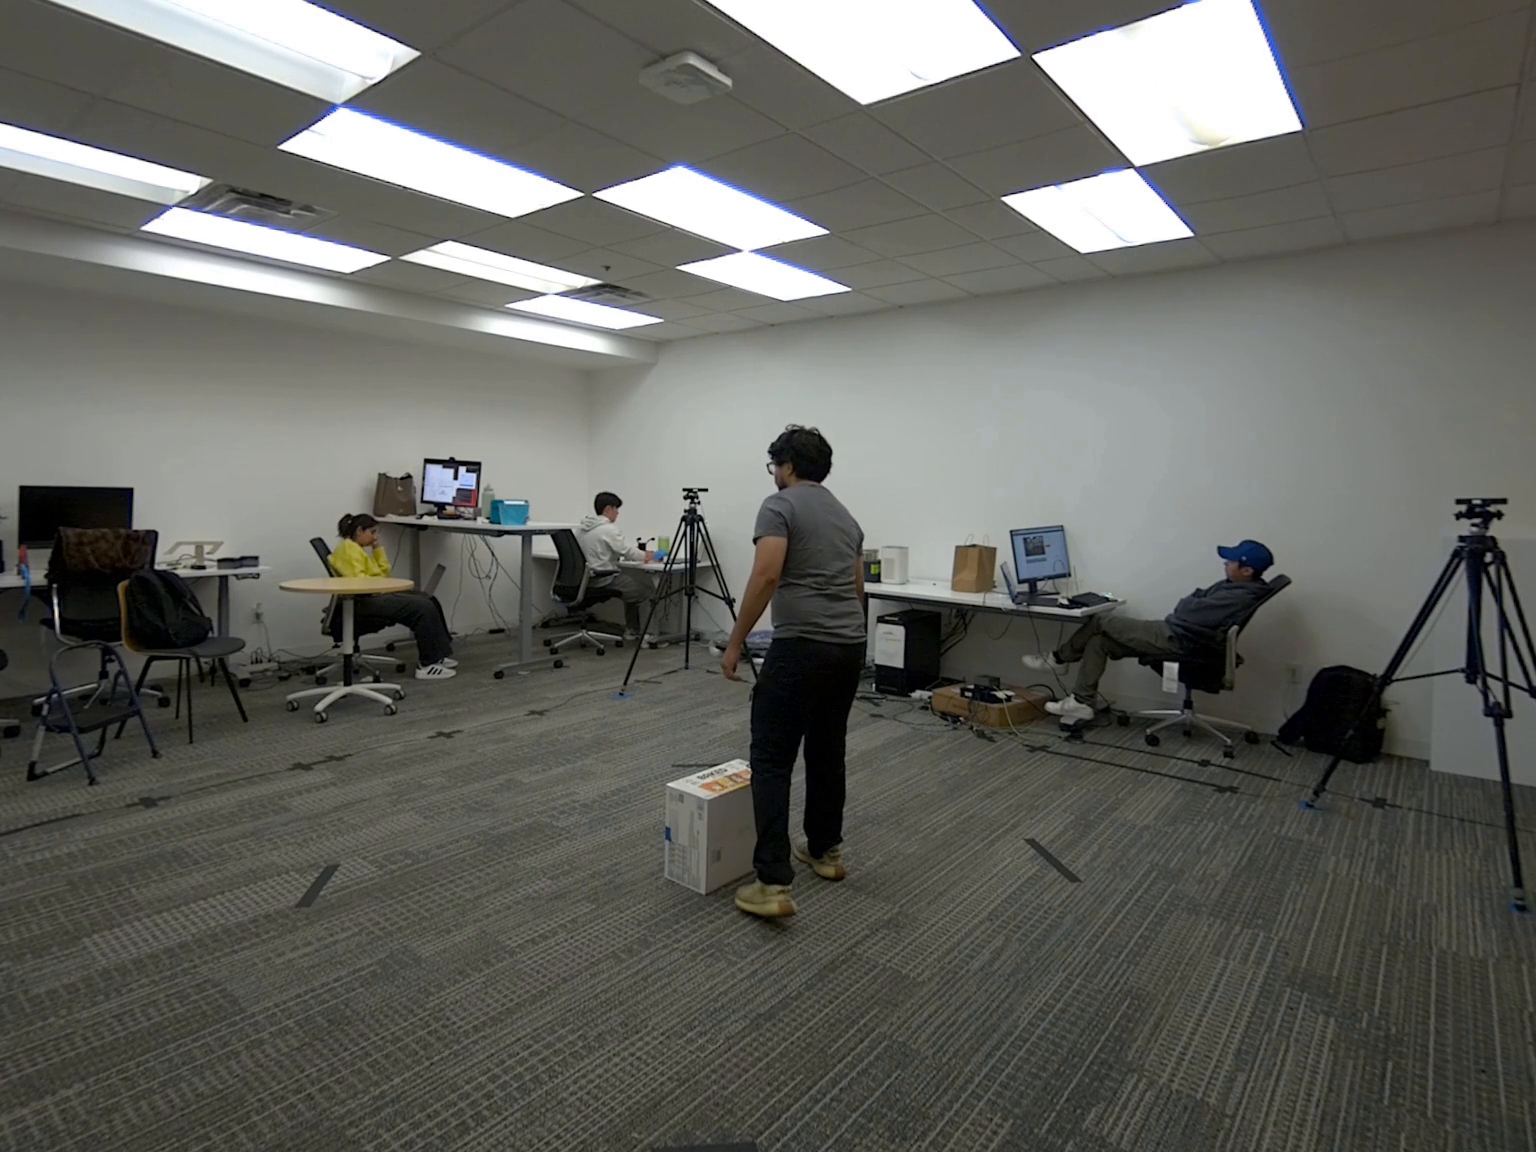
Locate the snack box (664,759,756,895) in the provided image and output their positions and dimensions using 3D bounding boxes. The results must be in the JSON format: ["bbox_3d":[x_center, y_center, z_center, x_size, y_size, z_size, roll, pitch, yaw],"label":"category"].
[{"bbox_3d":[-0.176,0.902,3.111,0.212,0.339,0.393,5,6,39],"label":"snack box"}]
